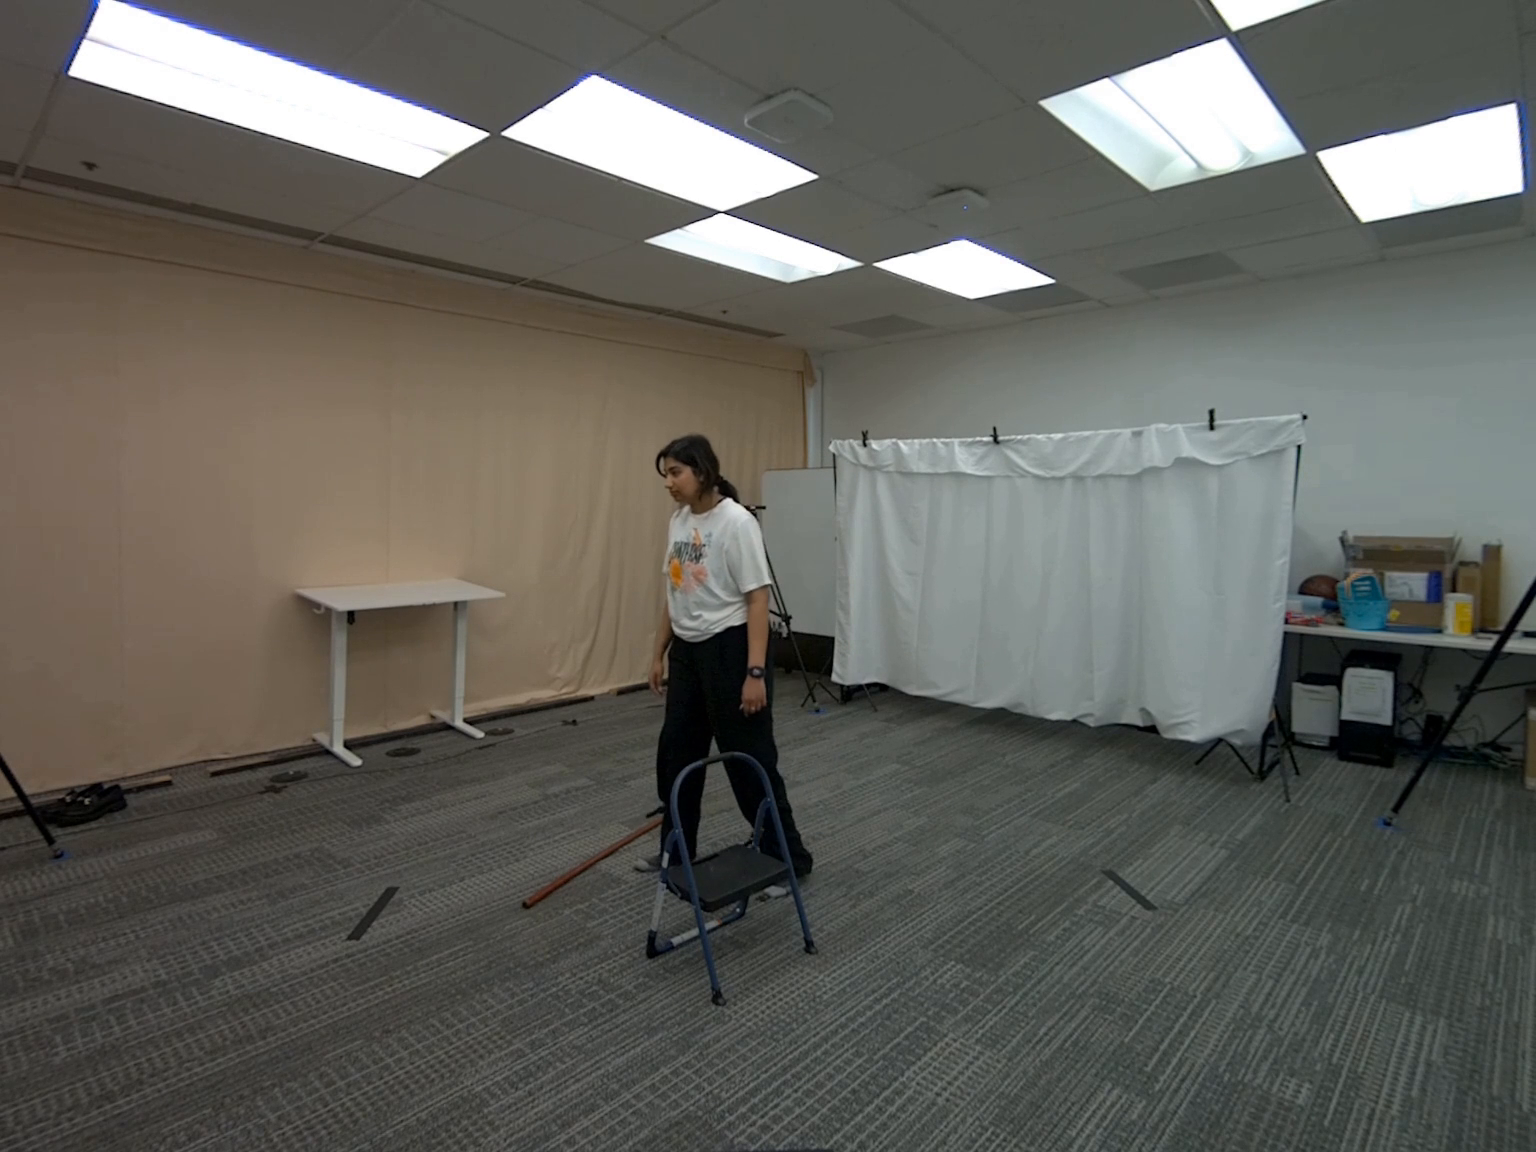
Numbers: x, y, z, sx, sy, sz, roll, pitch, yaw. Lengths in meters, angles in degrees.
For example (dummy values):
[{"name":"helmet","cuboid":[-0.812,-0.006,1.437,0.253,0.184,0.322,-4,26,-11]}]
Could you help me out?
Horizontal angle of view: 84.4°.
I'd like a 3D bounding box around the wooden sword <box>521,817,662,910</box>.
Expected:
[{"name":"wooden sword","cuboid":[-0.623,1.089,3.361,0.053,0.024,0.999,10,10,26]}]
